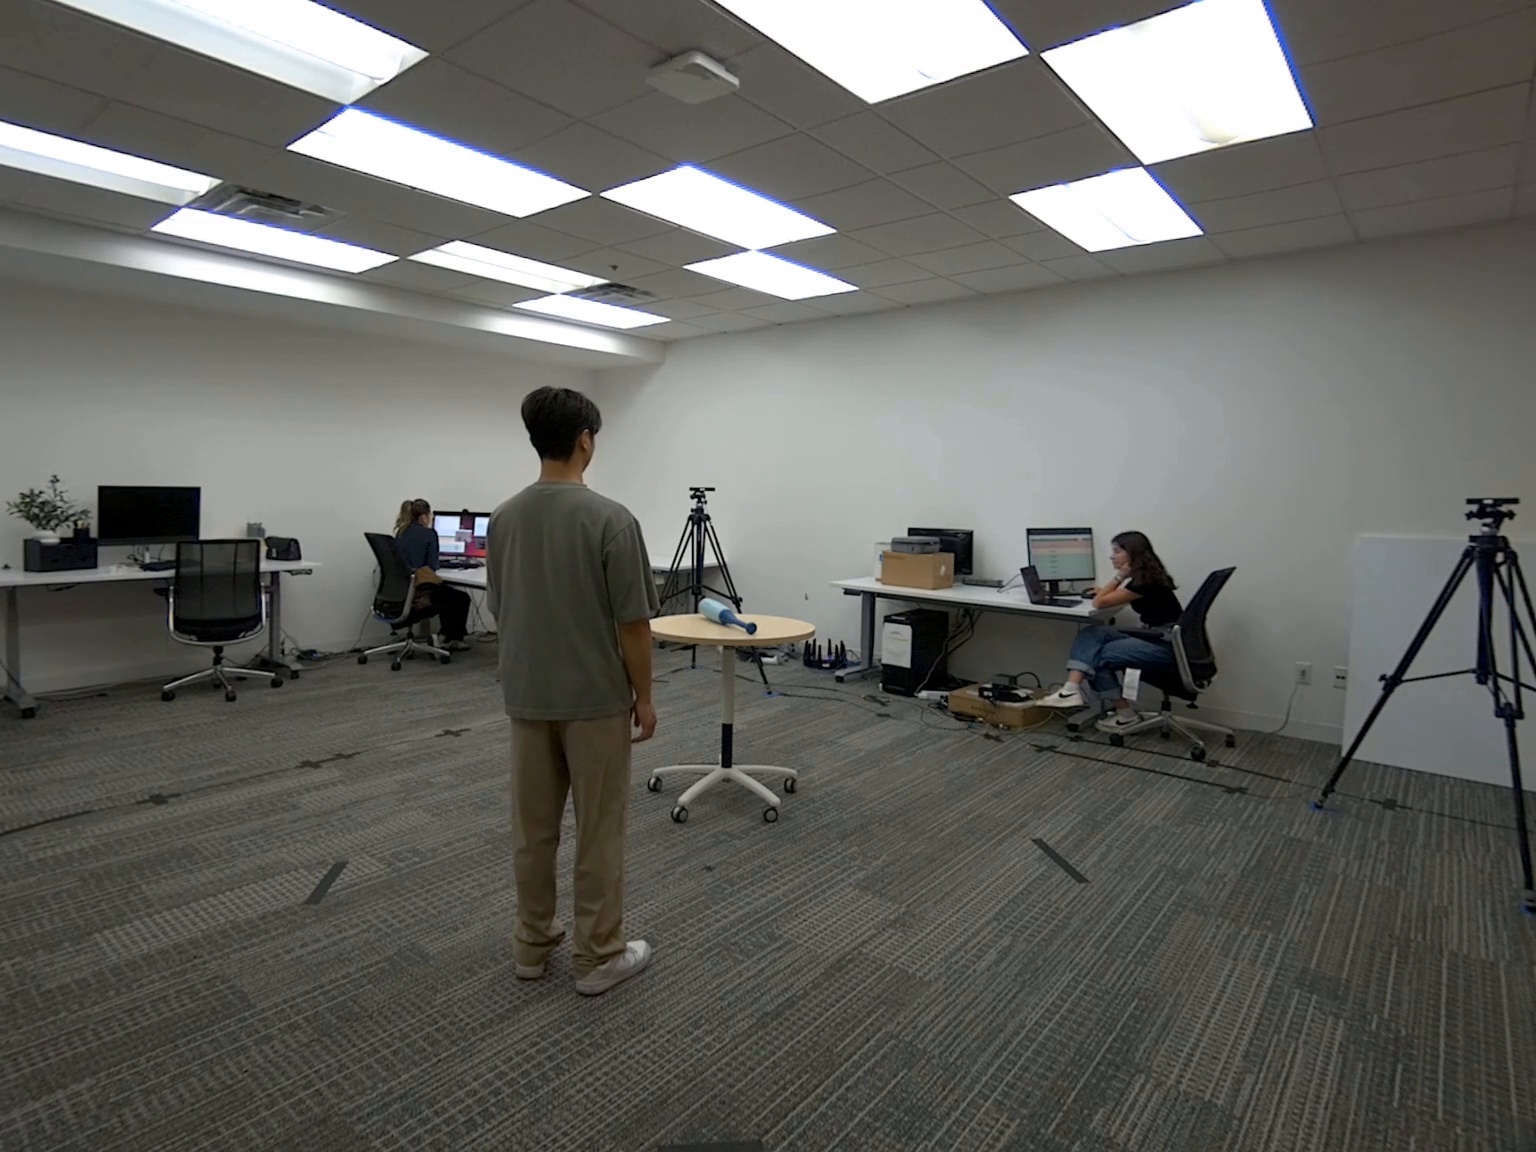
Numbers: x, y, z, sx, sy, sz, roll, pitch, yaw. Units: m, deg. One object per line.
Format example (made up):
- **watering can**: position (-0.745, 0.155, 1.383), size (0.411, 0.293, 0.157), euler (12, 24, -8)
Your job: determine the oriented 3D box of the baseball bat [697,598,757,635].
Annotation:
- **baseball bat**: position (-0.192, 0.181, 3.795), size (0.087, 0.088, 0.558), euler (-1, 8, -25)
